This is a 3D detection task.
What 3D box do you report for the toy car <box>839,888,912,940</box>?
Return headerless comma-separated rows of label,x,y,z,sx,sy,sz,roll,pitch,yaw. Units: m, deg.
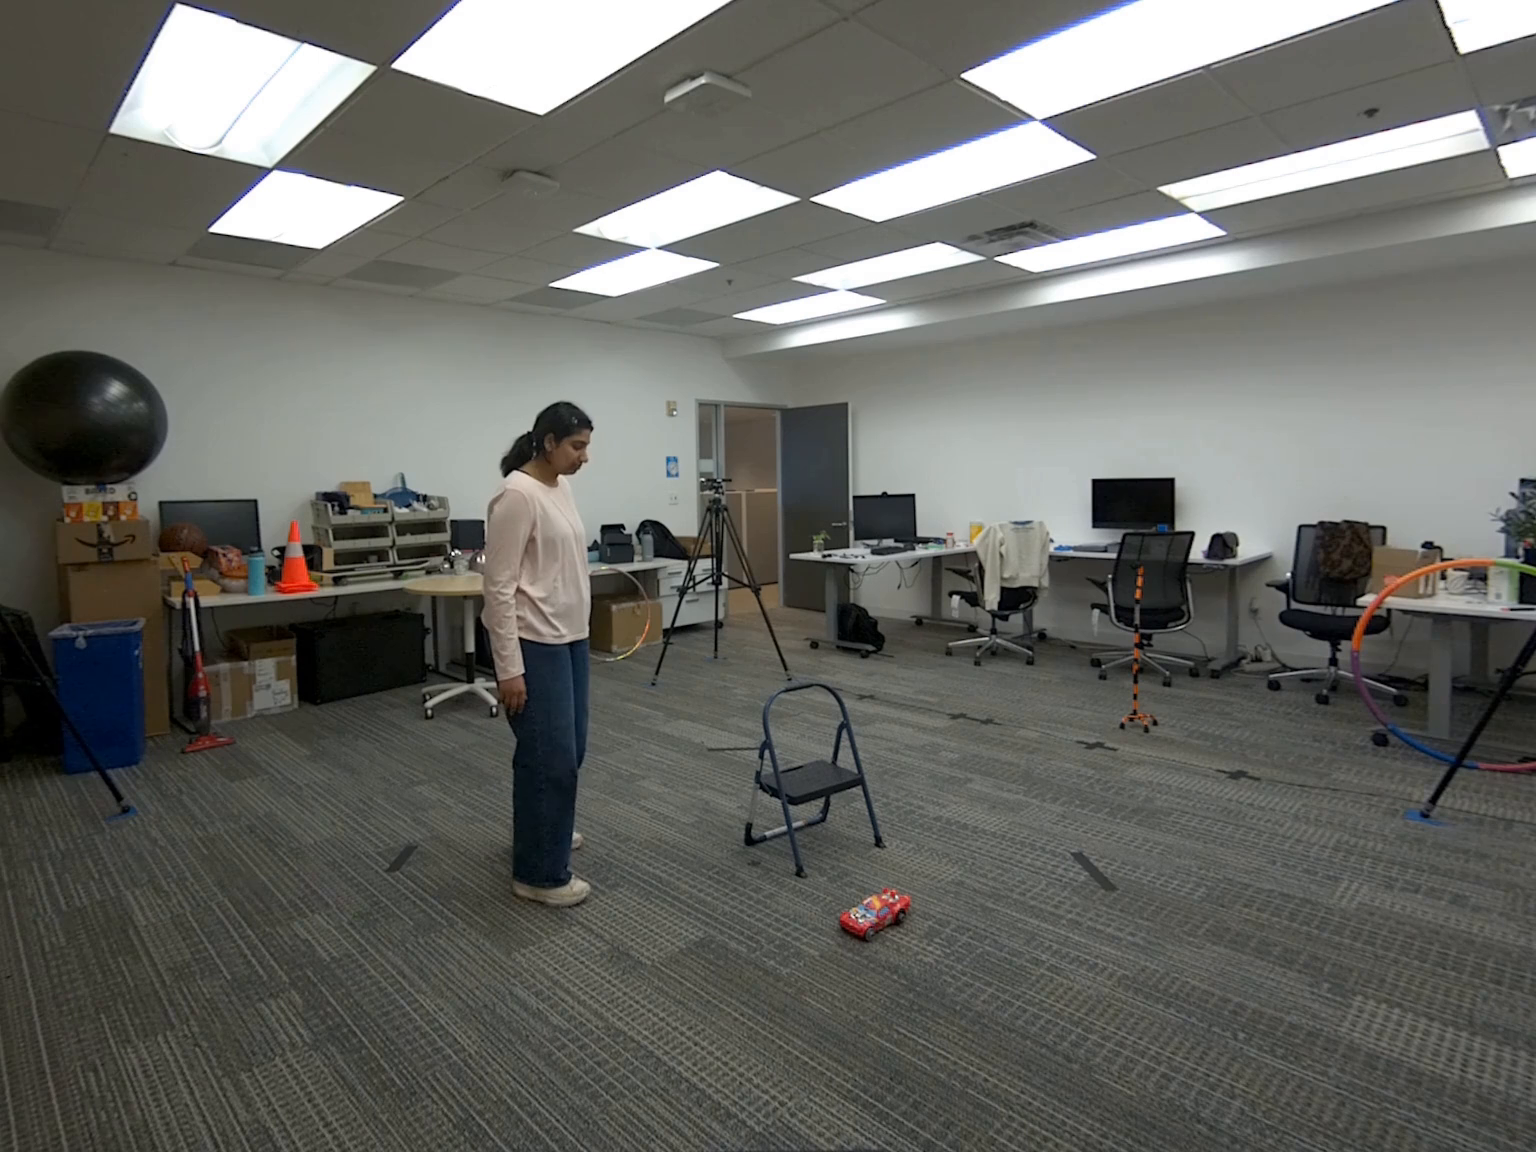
toy car,0.338,1.052,2.664,0.250,0.082,0.134,-20,19,-38
